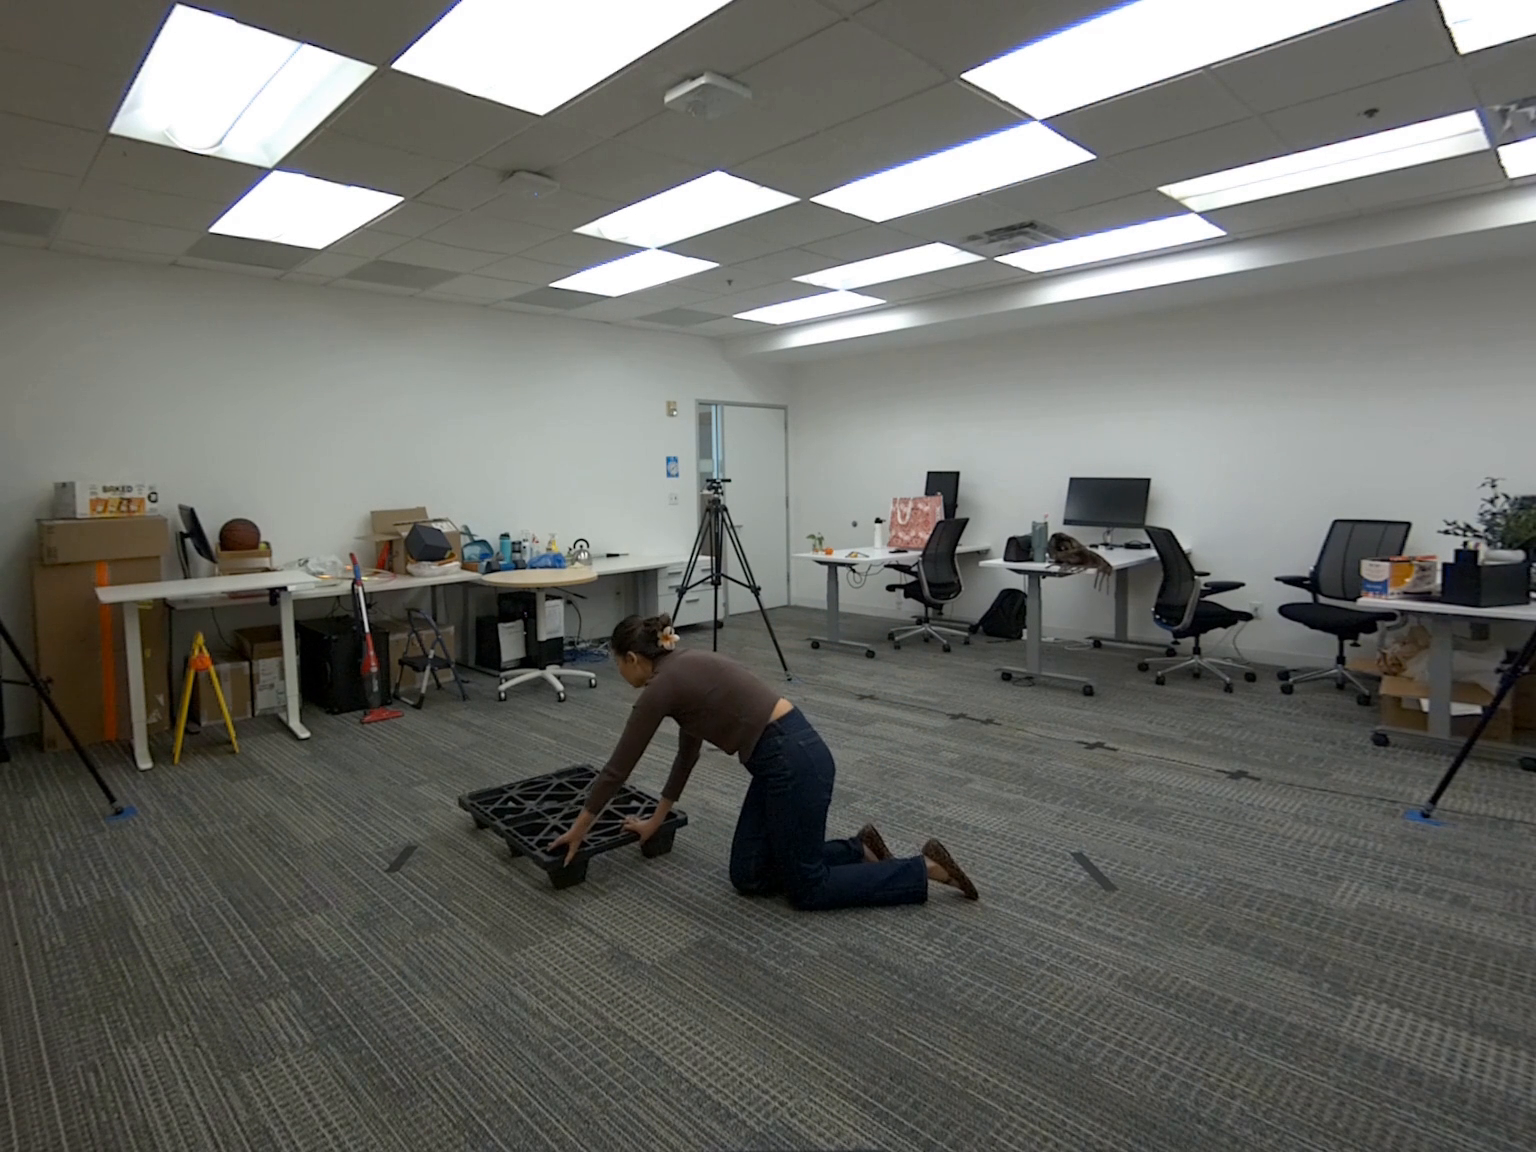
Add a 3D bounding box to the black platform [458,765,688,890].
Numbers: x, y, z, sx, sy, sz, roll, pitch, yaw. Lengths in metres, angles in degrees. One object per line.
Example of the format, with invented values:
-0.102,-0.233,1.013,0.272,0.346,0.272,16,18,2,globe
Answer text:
-0.774,0.963,3.344,0.590,0.142,0.830,-7,8,-40,black platform
